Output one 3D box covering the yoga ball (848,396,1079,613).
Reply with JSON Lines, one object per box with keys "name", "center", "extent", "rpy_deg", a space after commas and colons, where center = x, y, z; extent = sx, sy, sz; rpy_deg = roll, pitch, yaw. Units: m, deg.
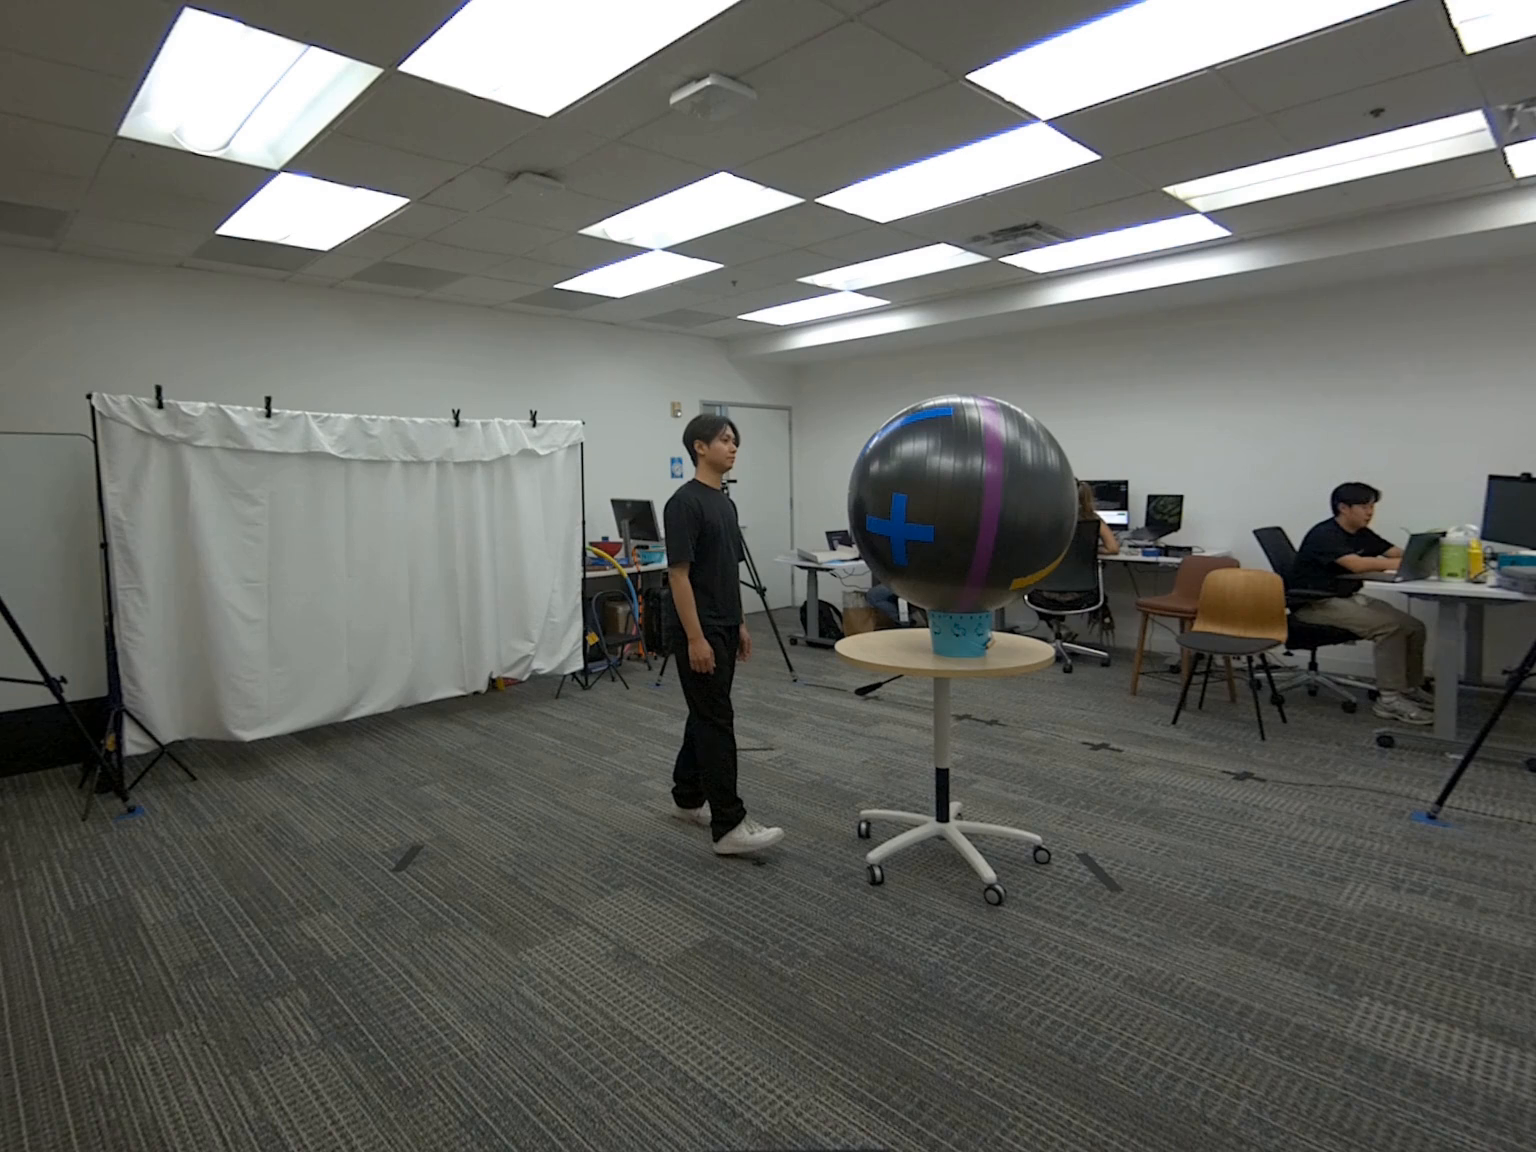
{"name": "yoga ball", "center": [0.664, -0.245, 2.957], "extent": [0.757, 0.755, 0.762], "rpy_deg": [-1, 5, -2]}
